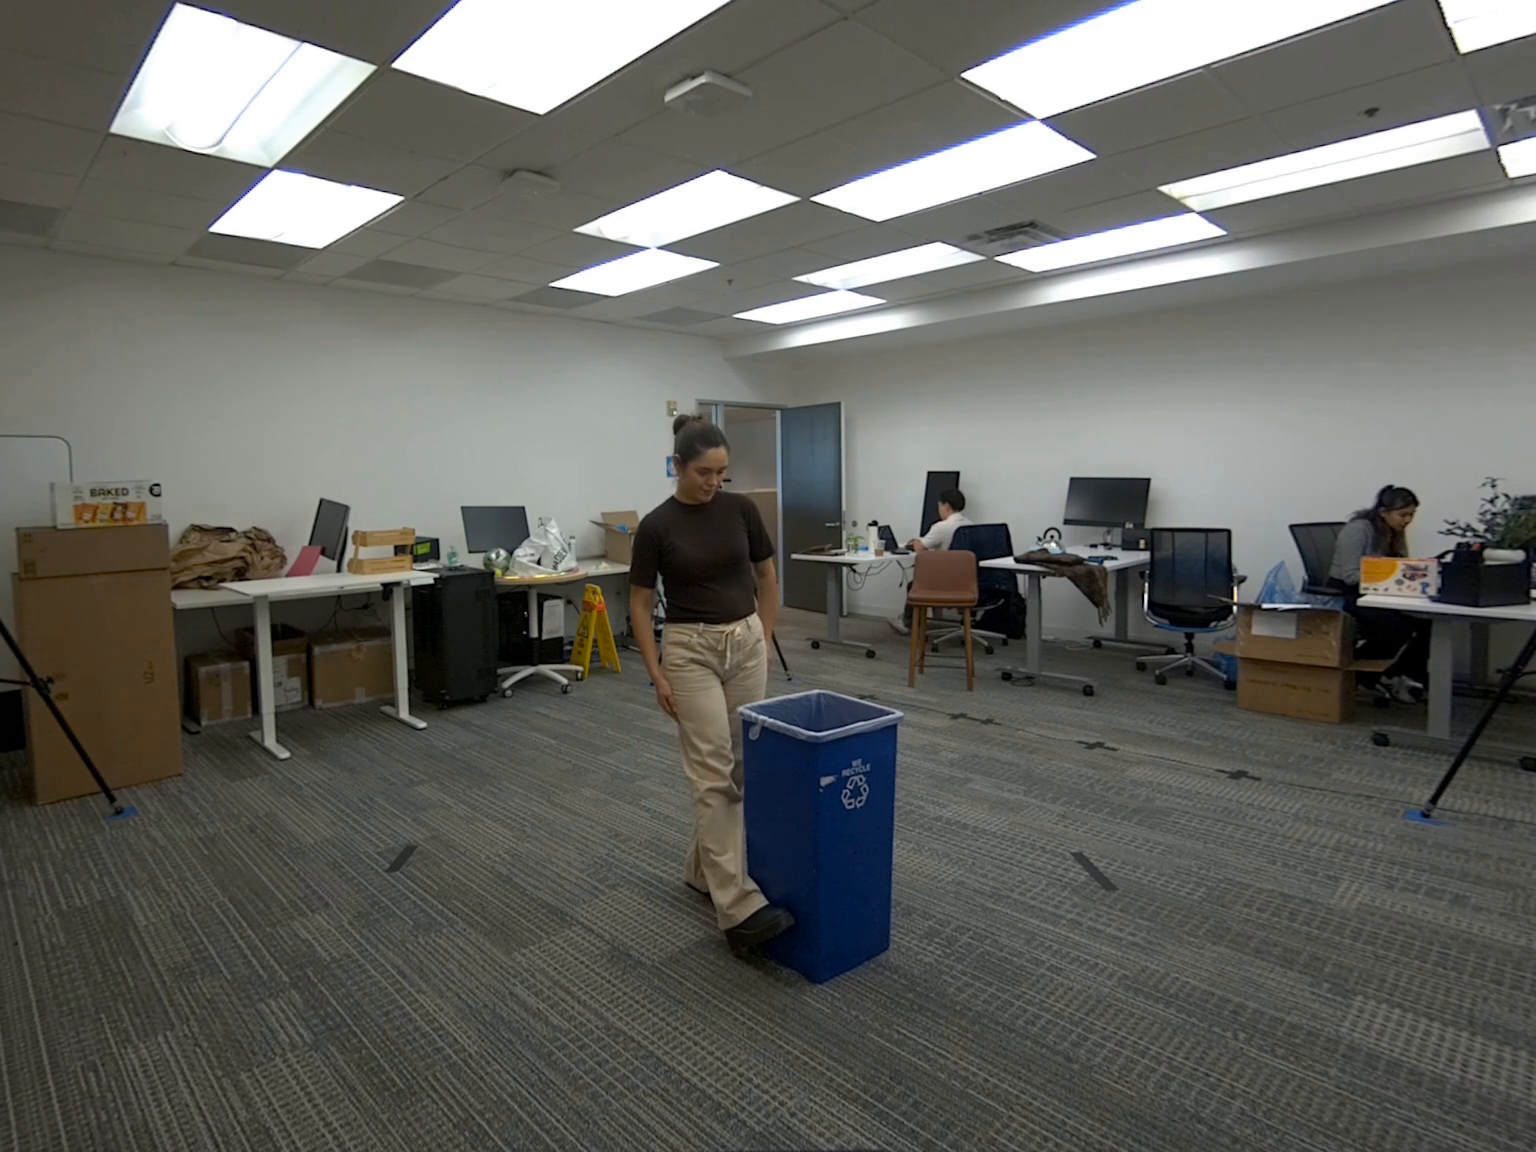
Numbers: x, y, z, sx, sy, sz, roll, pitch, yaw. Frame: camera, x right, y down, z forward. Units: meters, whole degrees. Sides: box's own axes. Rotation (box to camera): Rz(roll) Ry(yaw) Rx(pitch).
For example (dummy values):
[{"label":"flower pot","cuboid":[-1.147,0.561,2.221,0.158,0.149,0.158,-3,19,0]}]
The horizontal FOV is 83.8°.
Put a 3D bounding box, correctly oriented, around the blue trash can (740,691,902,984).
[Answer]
[{"label":"blue trash can","cuboid":[0.164,0.749,2.529,0.368,0.711,0.385,-4,5,-40]}]
